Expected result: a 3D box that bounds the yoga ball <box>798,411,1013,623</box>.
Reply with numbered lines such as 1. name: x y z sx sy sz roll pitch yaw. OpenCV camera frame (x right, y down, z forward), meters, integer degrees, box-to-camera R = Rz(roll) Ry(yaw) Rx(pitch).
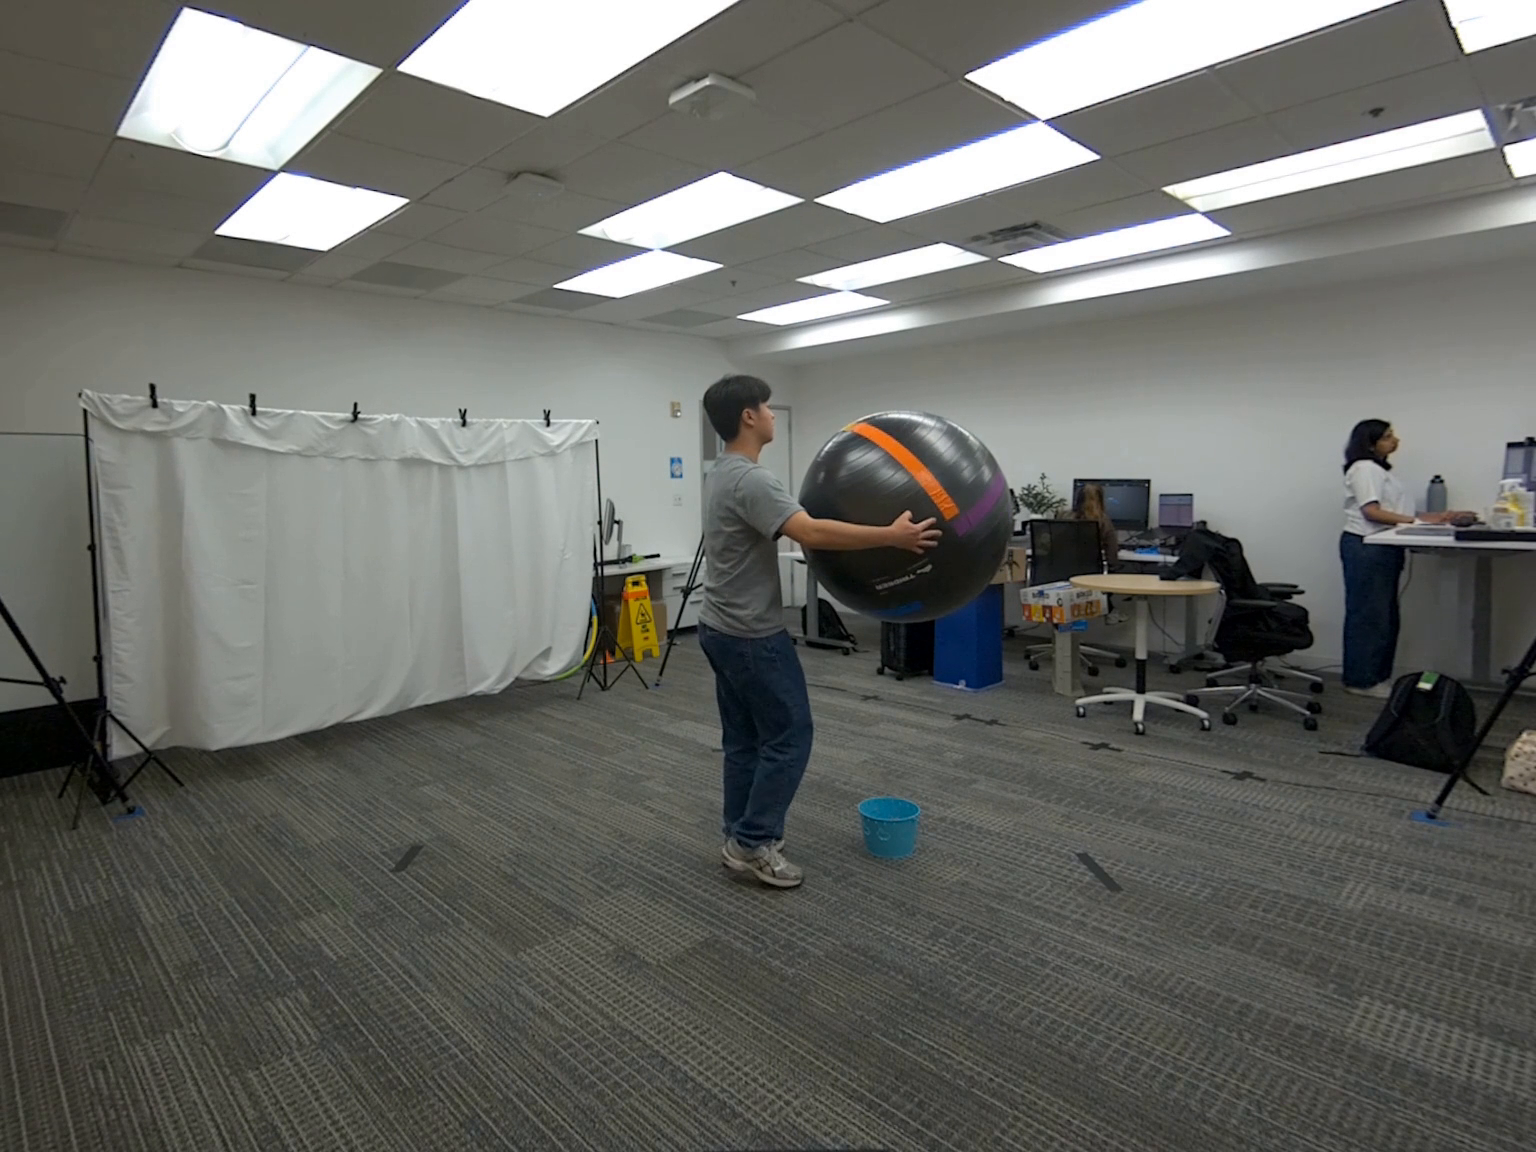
1. yoga ball: 0.503 -0.207 3.067 0.757 0.755 0.762 -1 5 -2
